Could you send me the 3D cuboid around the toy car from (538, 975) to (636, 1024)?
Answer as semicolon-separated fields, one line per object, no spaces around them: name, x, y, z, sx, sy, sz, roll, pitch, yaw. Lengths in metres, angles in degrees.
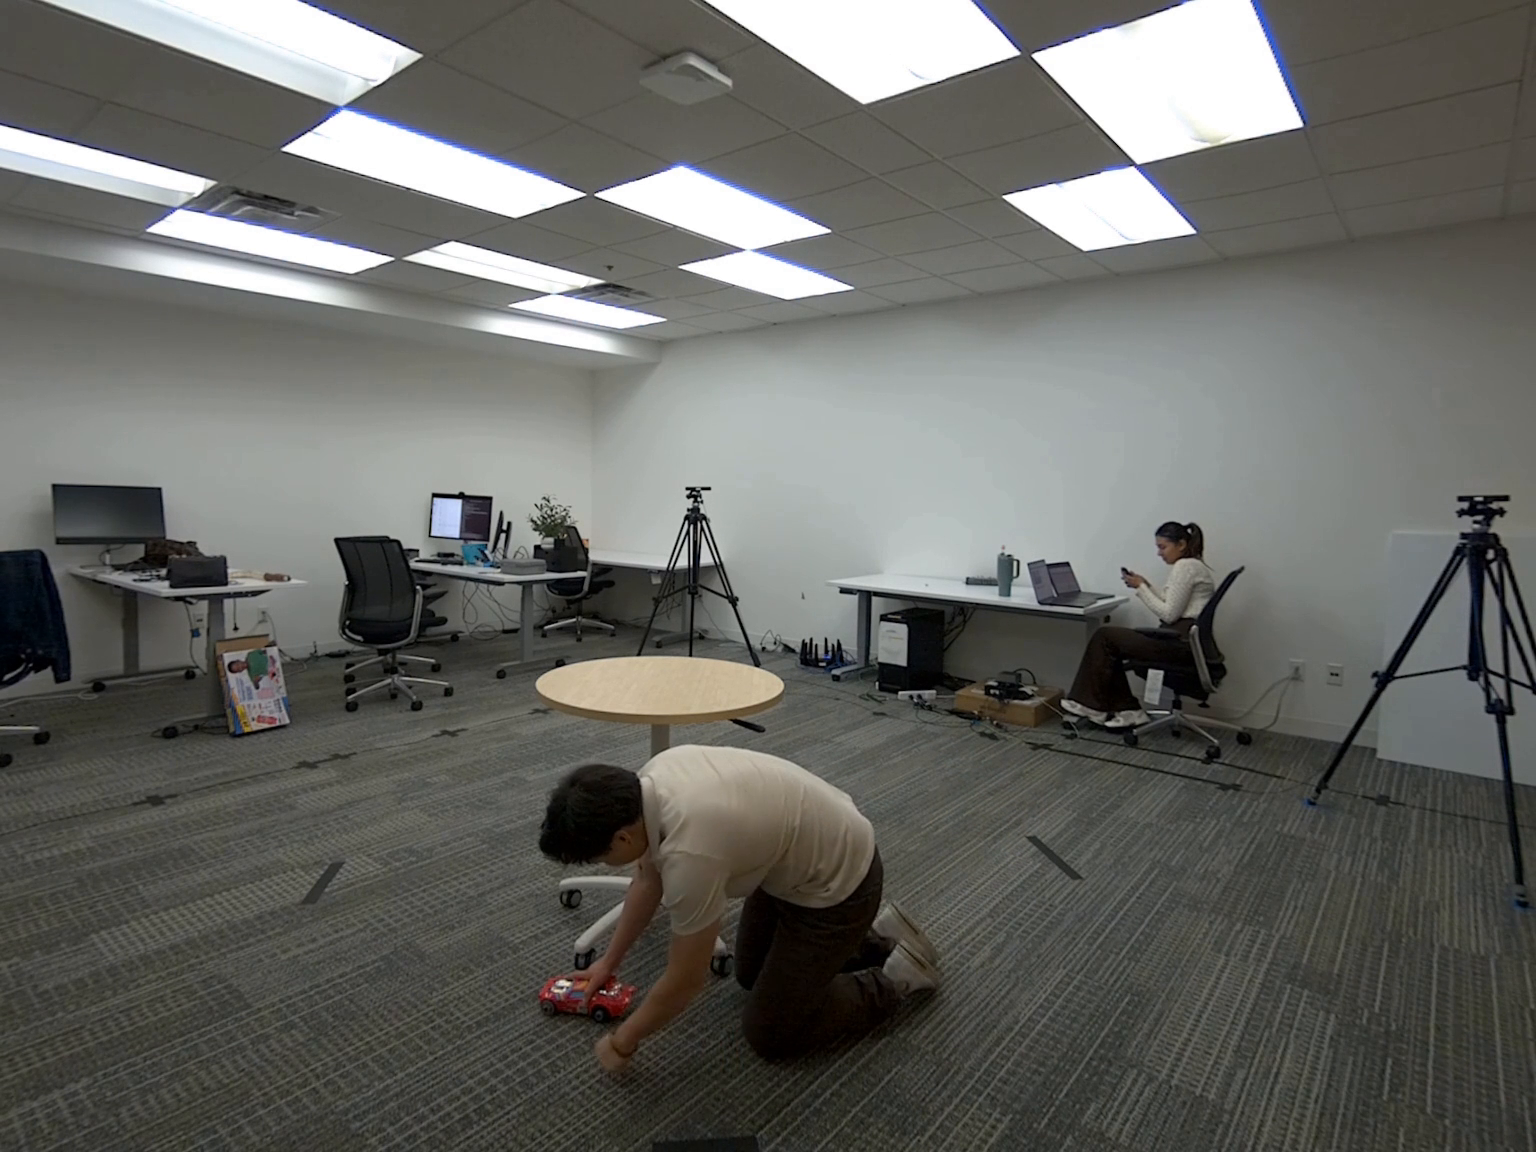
toy car;-0.485;1.123;2.254;0.257;0.083;0.129;-9;2;11
